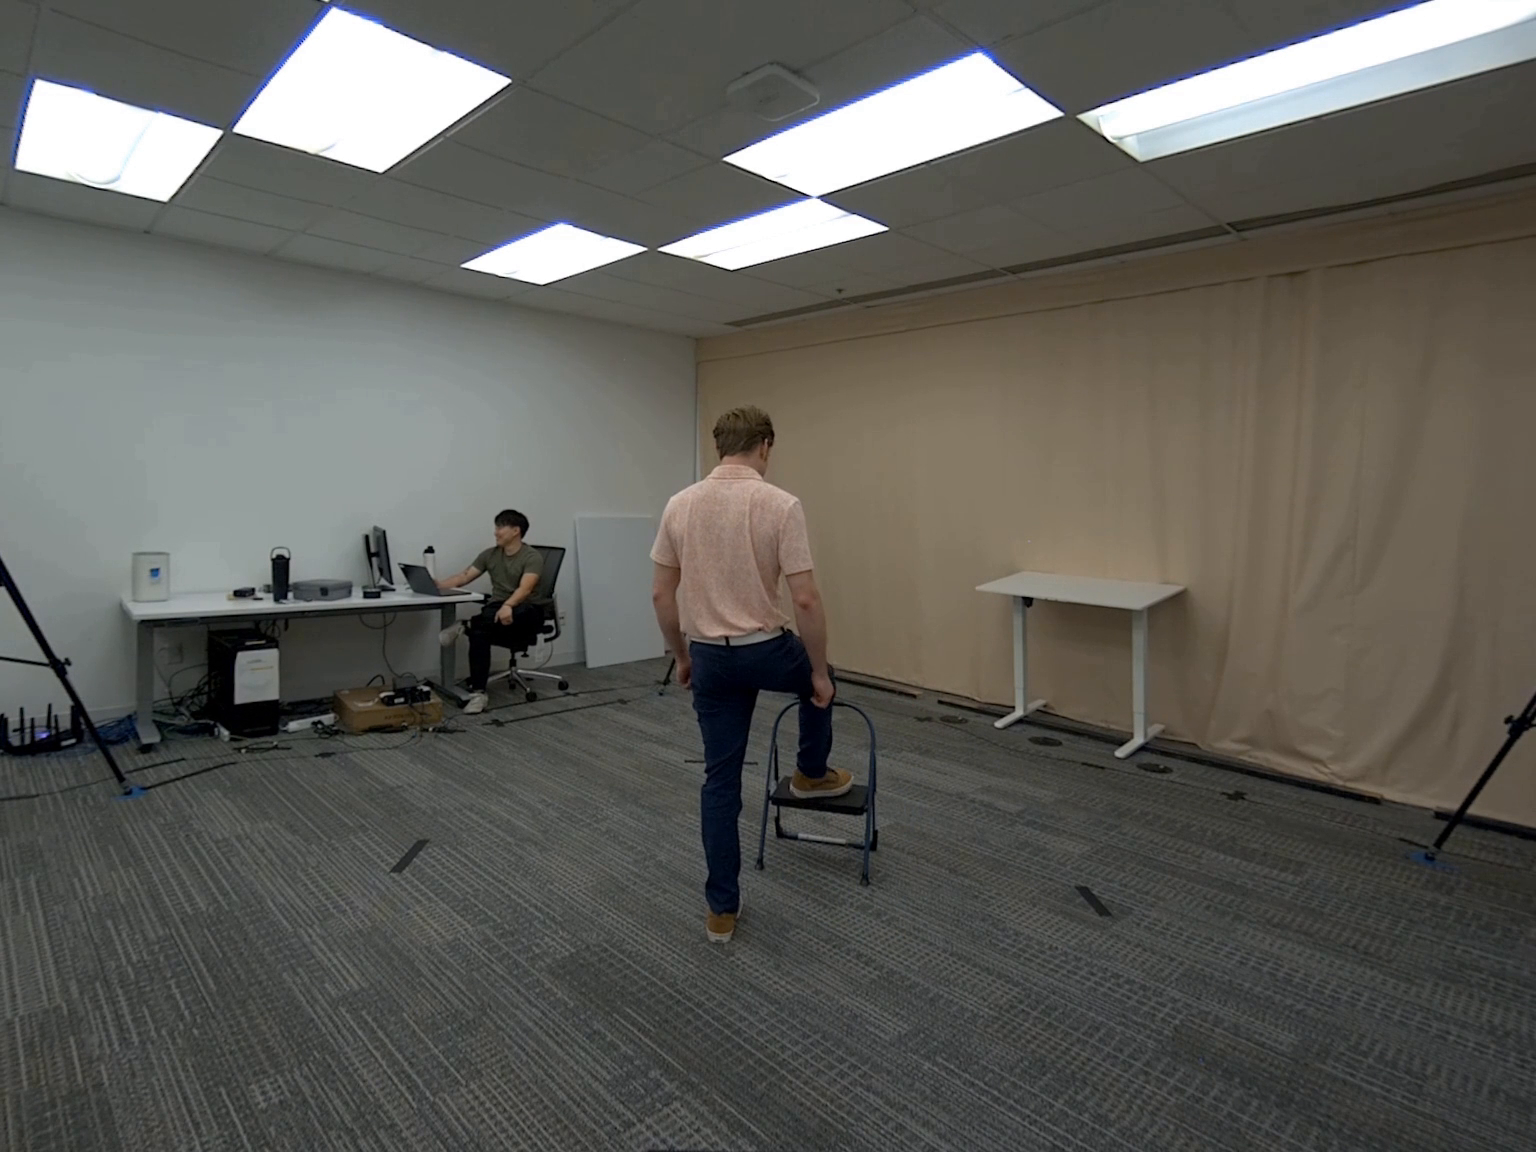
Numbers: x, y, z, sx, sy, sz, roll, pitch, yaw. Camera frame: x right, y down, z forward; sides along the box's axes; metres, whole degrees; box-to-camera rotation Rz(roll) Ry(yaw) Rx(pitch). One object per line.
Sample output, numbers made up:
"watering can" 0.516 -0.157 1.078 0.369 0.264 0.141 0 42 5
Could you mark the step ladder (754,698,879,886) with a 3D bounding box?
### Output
"step ladder" 0.202 0.797 3.254 0.436 0.605 0.345 2 3 15
